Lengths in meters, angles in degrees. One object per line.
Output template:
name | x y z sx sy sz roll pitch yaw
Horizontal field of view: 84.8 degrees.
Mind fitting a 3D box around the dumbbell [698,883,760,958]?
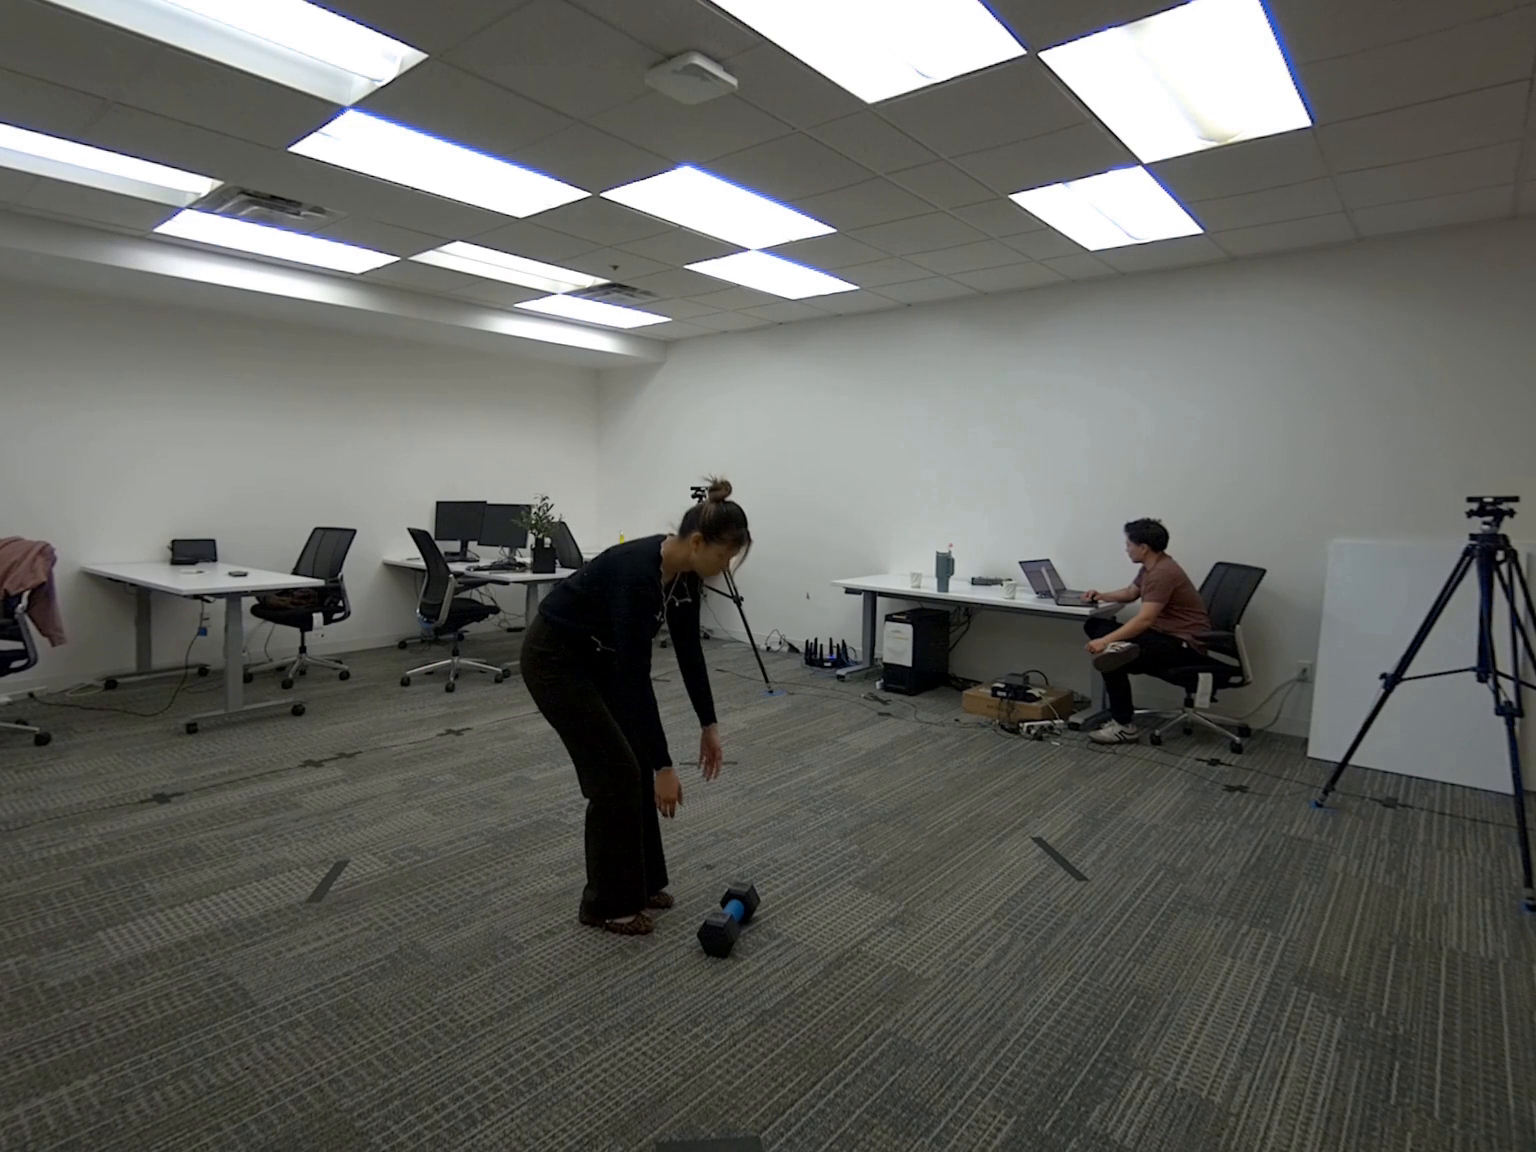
dumbbell | -0.123 1.058 2.642 0.125 0.108 0.289 0 5 16
